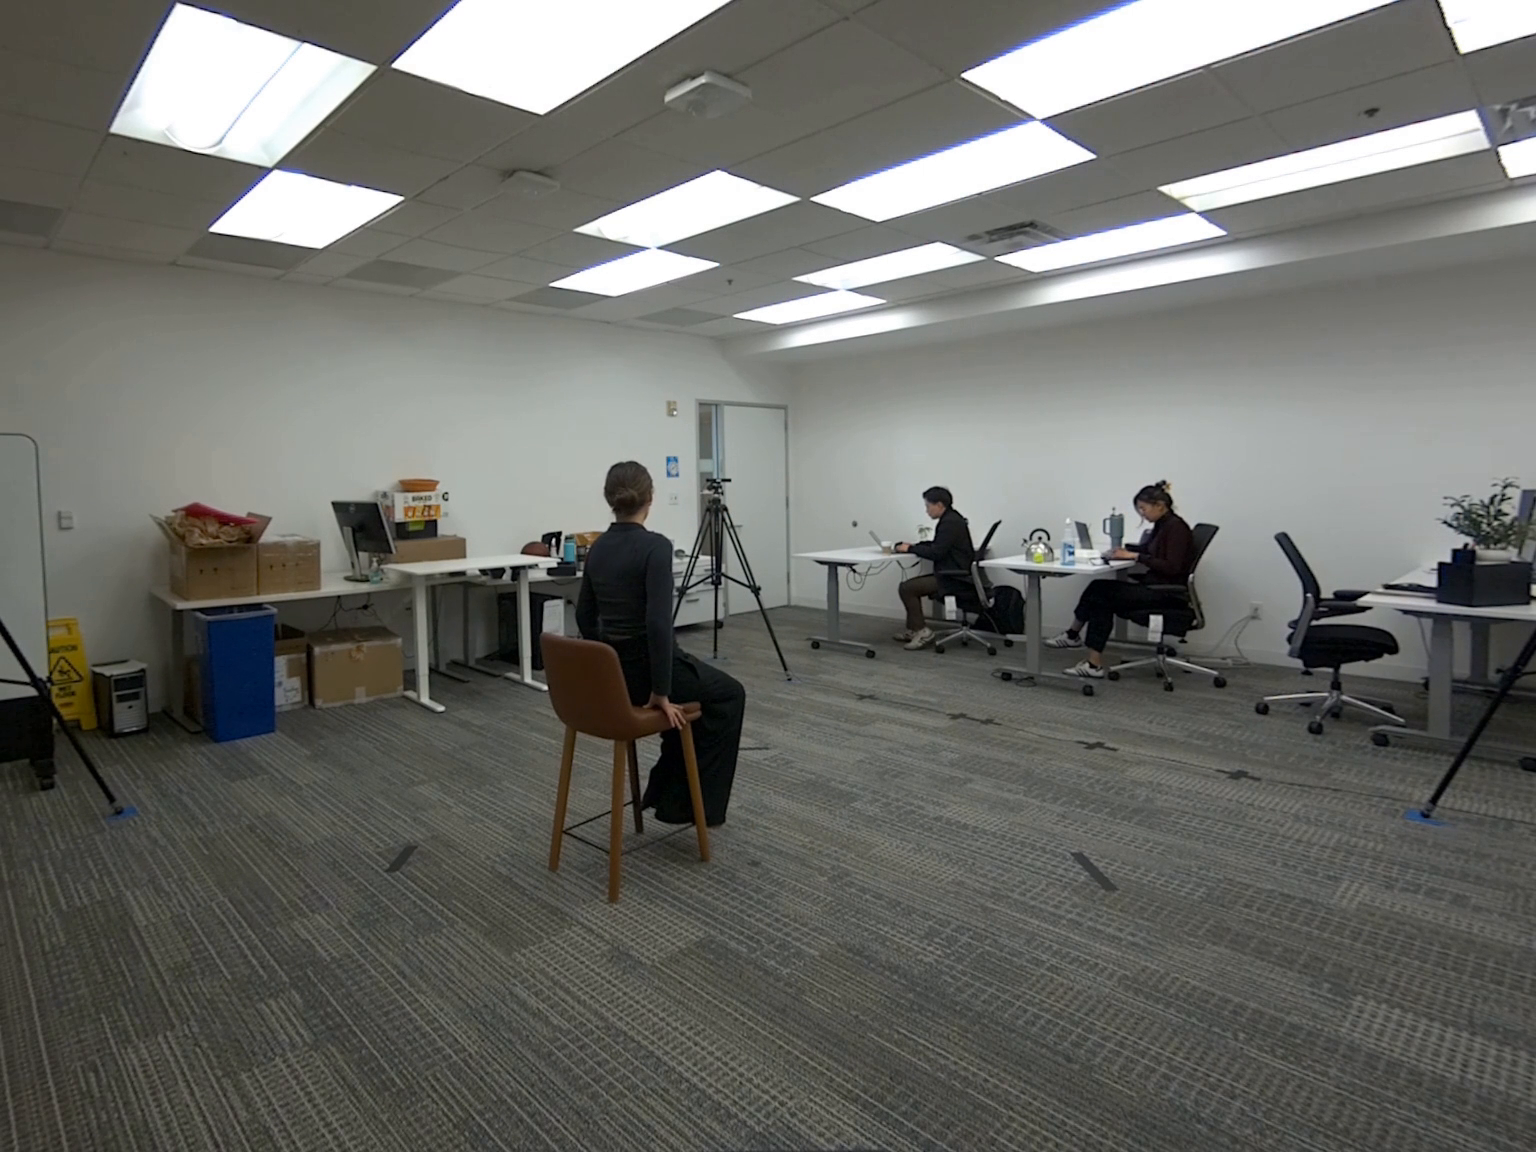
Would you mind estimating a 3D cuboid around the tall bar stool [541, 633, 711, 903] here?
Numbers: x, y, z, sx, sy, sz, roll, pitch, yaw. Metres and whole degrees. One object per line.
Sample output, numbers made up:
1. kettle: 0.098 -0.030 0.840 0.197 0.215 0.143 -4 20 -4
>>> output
1. tall bar stool: -0.529 0.623 3.080 0.470 0.886 0.456 2 7 43
